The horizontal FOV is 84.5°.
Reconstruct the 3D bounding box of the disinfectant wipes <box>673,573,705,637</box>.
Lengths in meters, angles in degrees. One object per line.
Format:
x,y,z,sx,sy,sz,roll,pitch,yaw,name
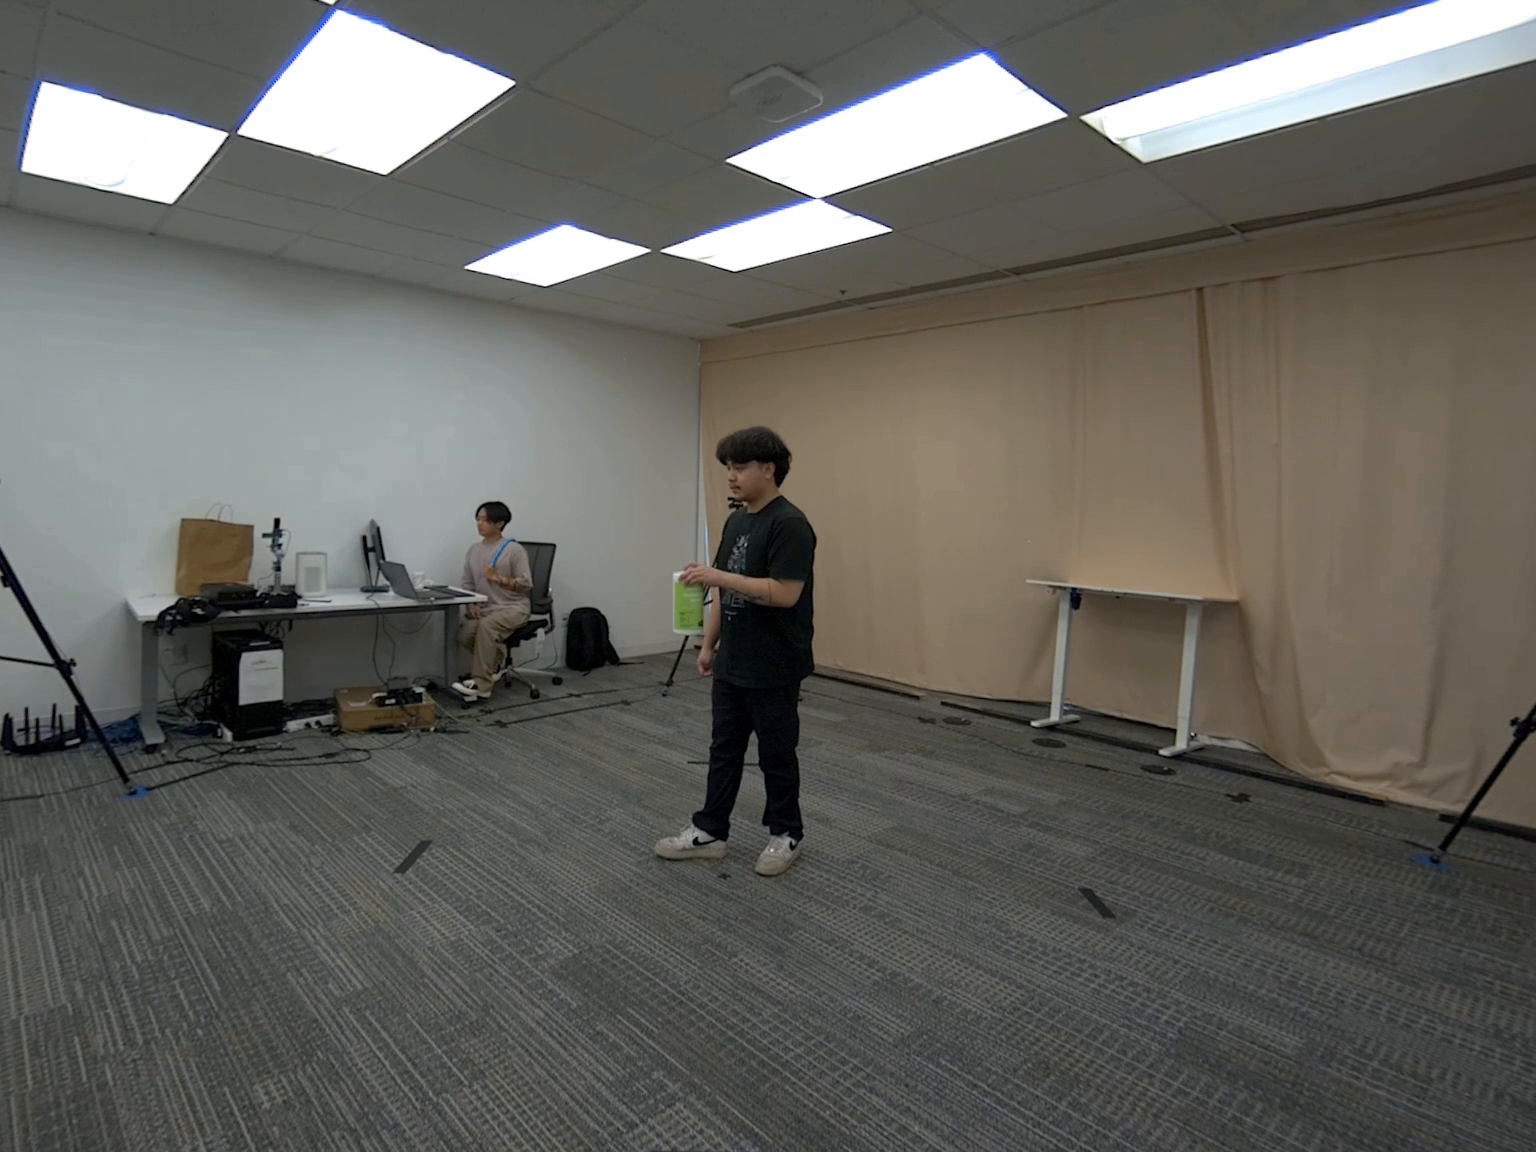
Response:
-0.296,0.098,2.960,0.118,0.217,0.118,-1,4,-1,disinfectant wipes
